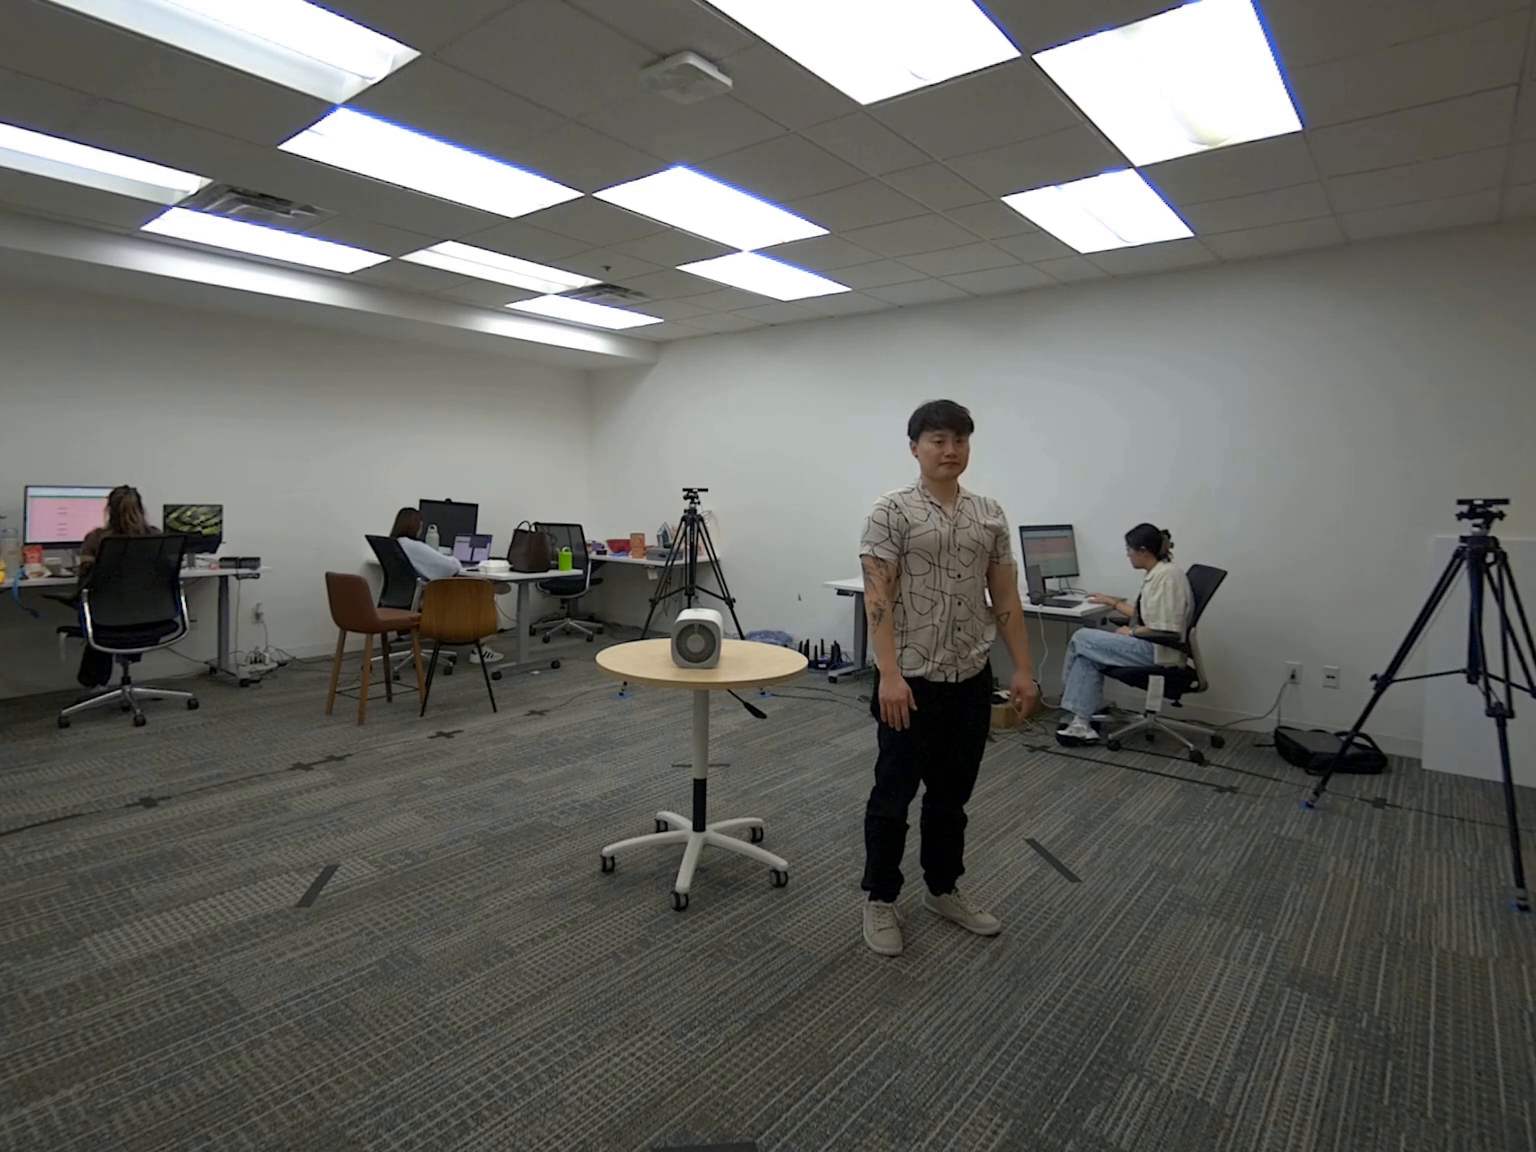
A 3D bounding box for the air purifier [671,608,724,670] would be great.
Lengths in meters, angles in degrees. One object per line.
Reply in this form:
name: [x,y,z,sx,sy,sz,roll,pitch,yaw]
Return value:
air purifier: [-0.255,0.211,3.018,0.171,0.171,0.267,1,5,-2]
